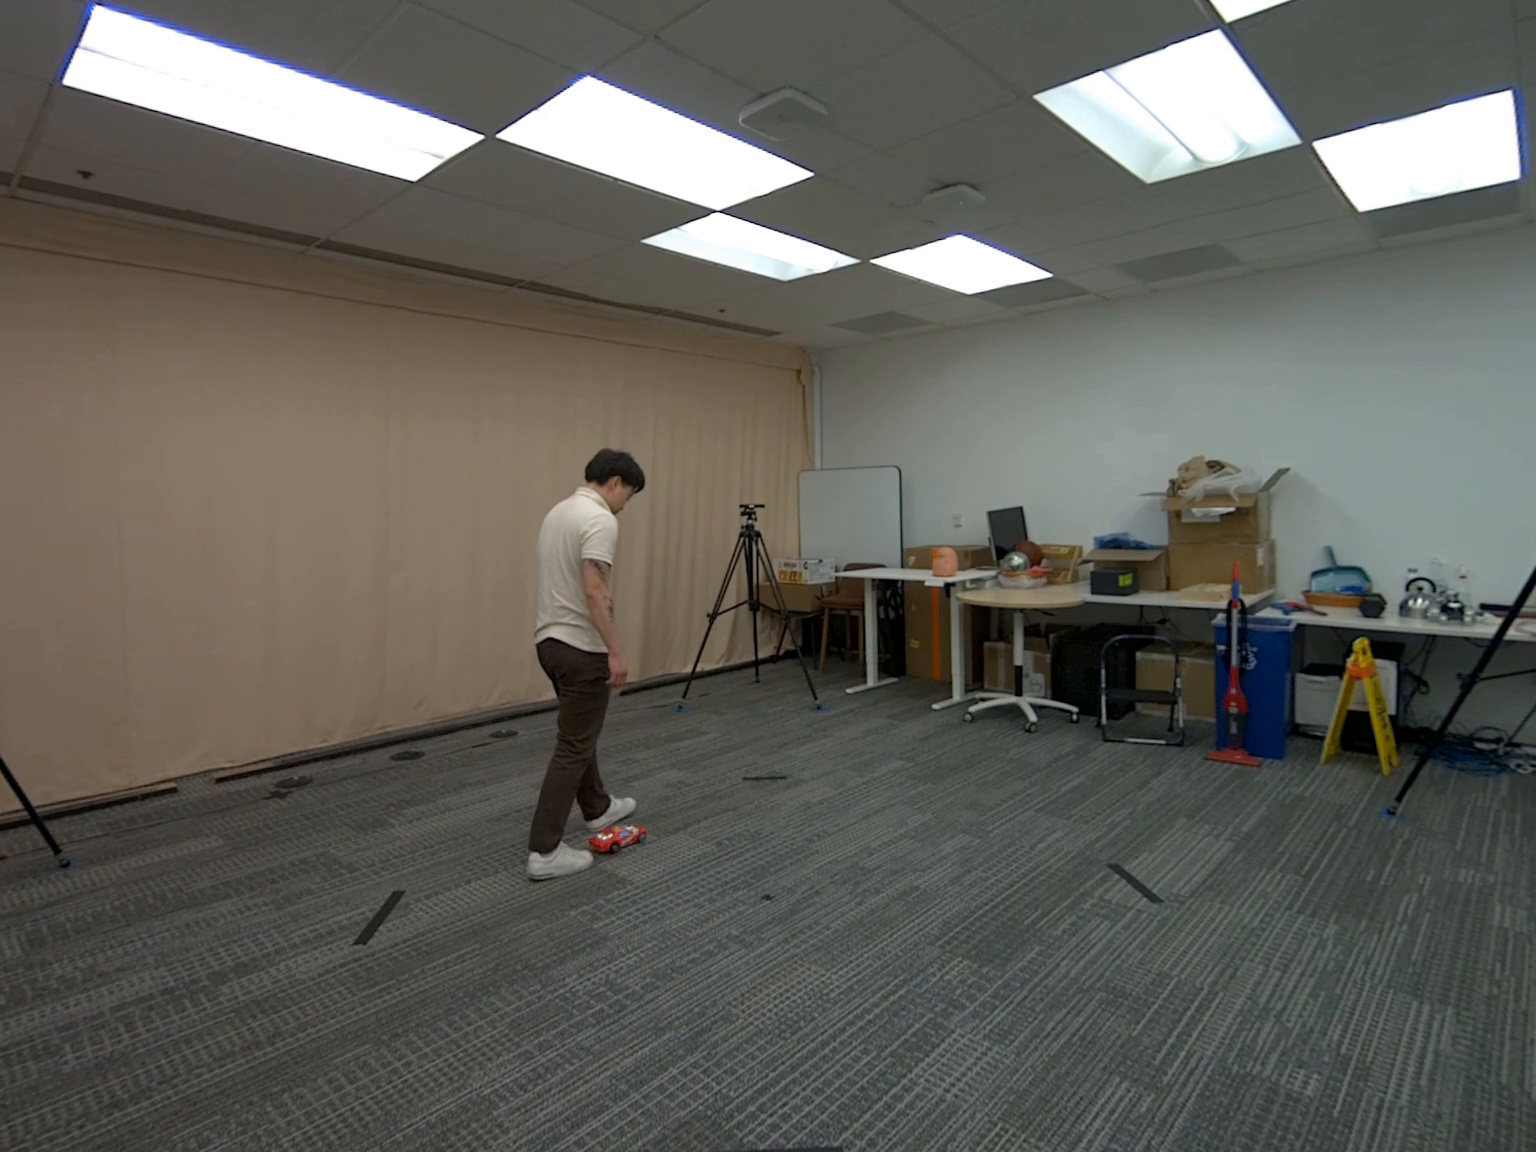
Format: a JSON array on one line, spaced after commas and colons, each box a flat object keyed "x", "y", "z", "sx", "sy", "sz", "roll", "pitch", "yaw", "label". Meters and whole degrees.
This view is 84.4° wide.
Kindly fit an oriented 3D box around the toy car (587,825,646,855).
[{"x": -0.628, "y": 1.083, "z": 3.466, "sx": 0.134, "sy": 0.083, "sz": 0.246, "roll": 3, "pitch": -5, "yaw": 45, "label": "toy car"}]
